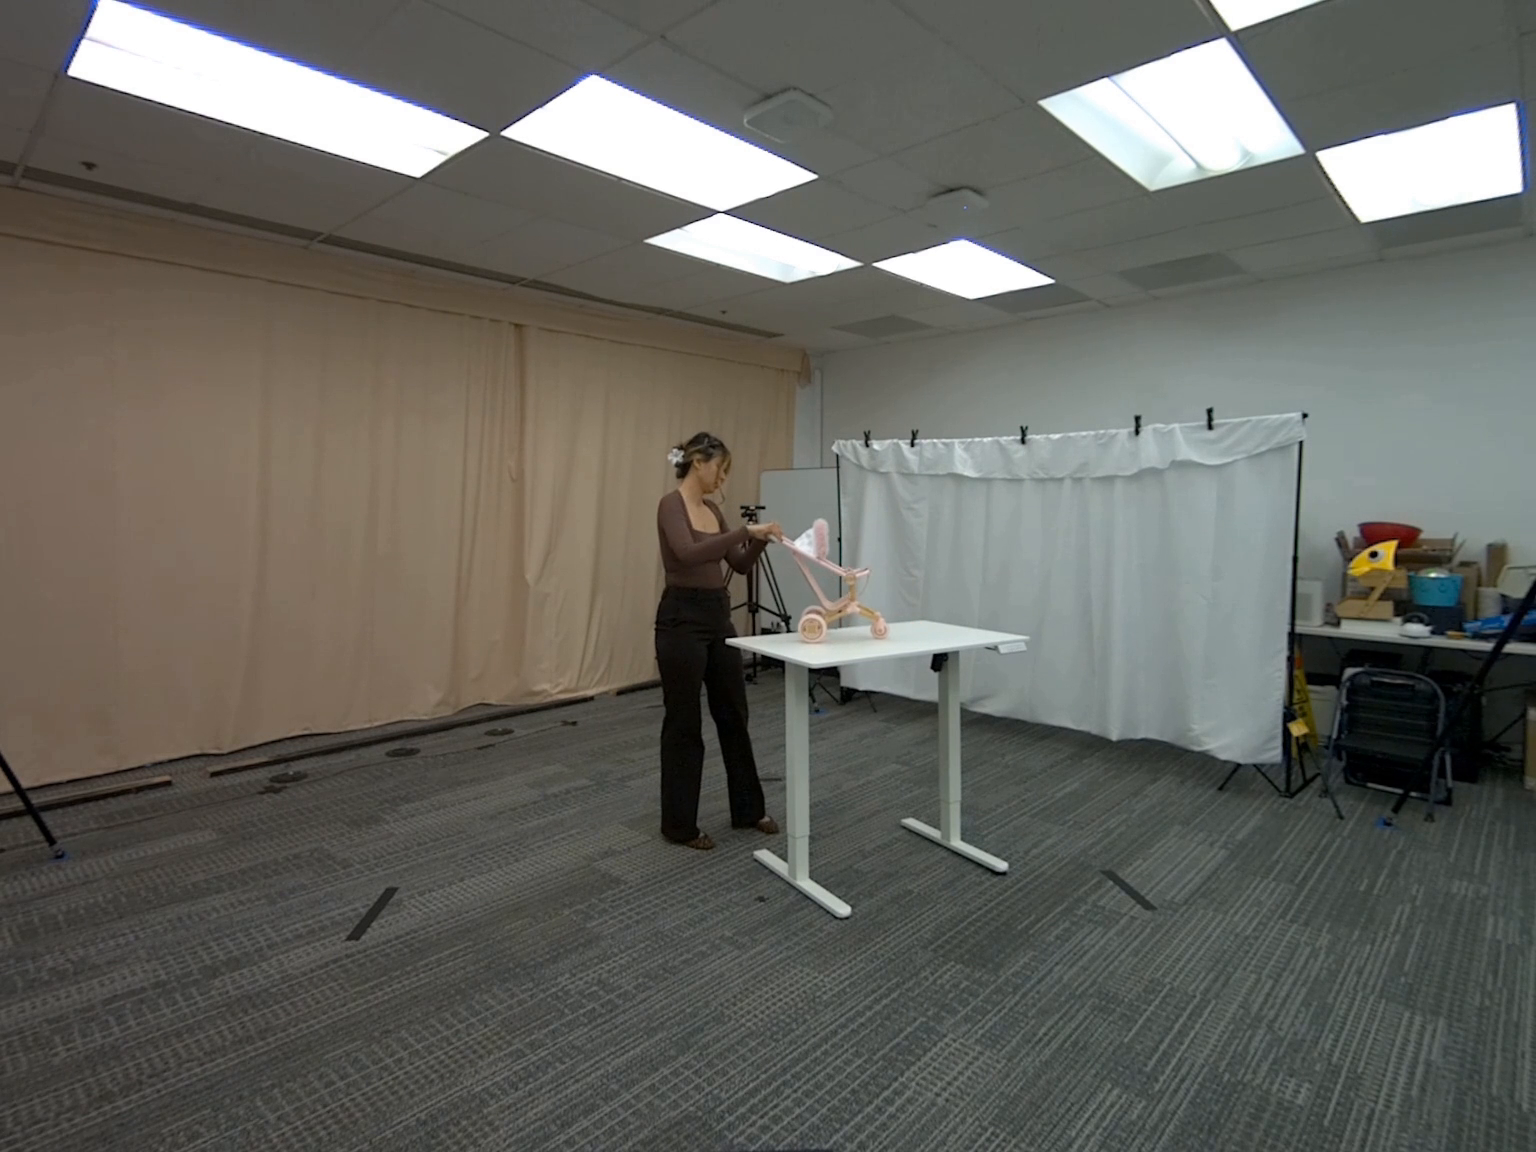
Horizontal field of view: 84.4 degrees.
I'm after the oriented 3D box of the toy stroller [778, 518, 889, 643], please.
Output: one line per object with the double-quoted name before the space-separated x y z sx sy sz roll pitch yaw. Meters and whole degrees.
"toy stroller" 0.244 0.023 3.230 0.345 0.535 0.278 -16 0 13
